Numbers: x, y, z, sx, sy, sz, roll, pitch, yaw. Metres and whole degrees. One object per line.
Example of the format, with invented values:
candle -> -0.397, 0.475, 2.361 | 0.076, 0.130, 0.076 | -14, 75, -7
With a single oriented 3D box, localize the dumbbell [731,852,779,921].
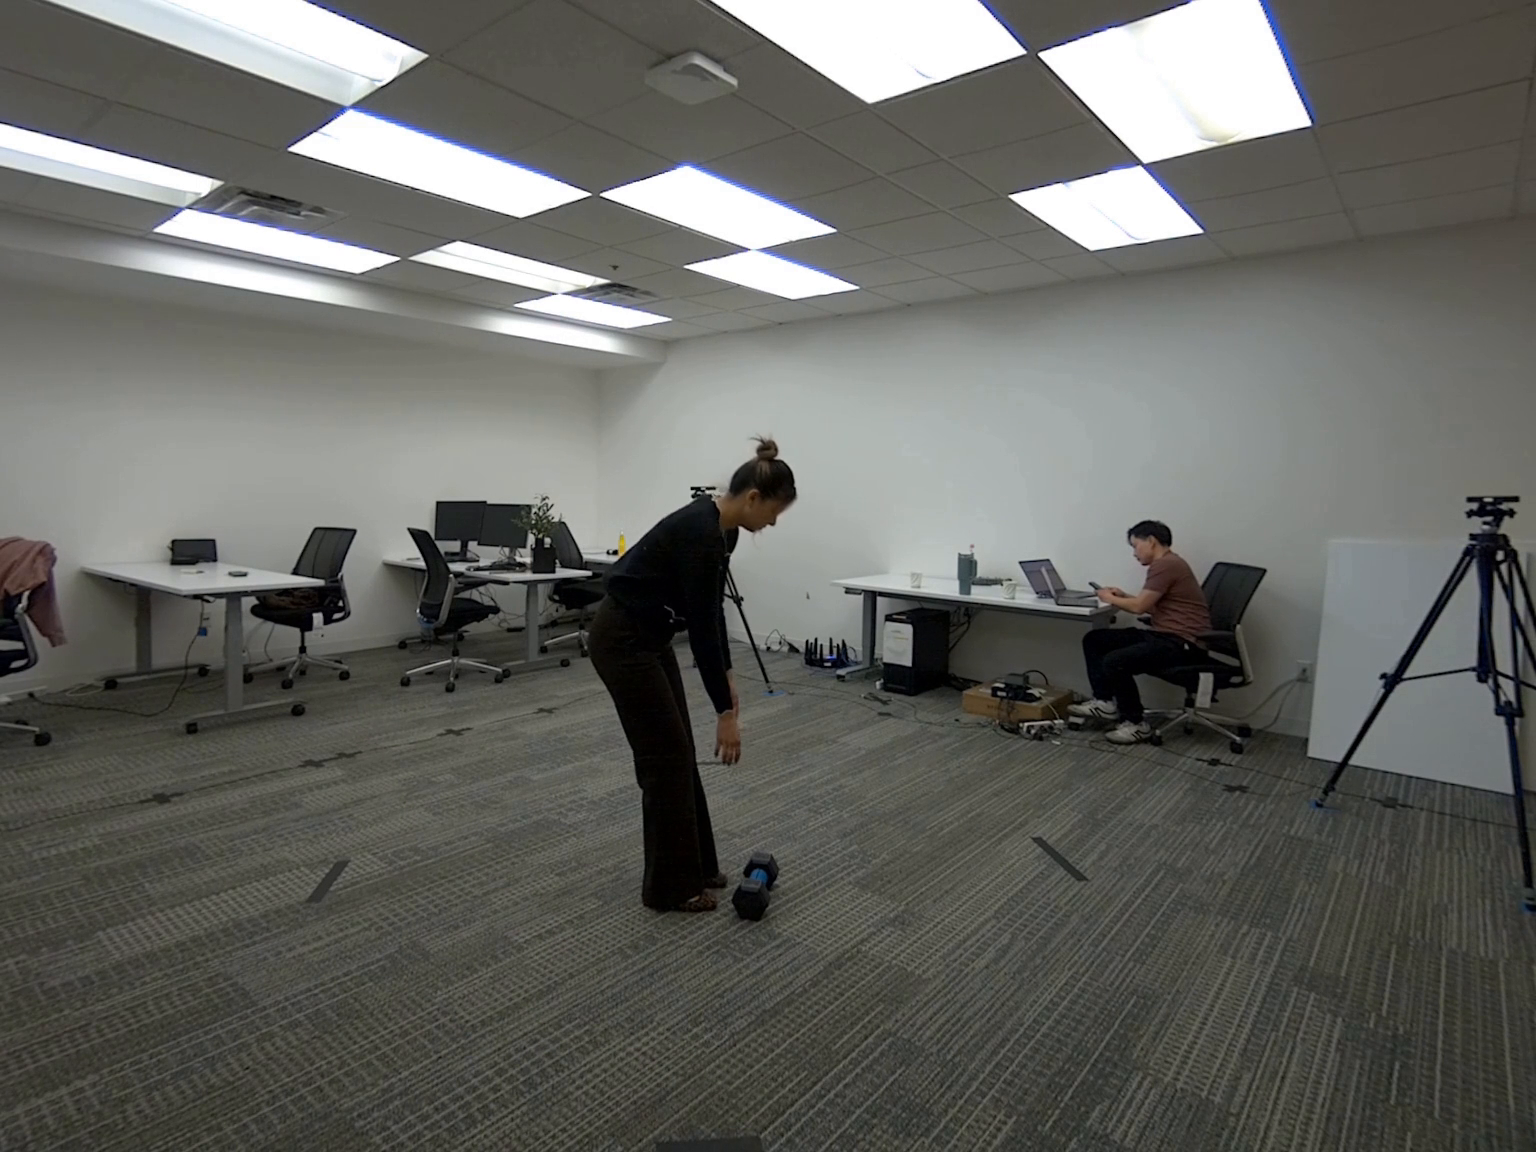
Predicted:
dumbbell -> -0.048, 1.045, 2.862 | 0.109, 0.123, 0.291 | -29, 0, 8
